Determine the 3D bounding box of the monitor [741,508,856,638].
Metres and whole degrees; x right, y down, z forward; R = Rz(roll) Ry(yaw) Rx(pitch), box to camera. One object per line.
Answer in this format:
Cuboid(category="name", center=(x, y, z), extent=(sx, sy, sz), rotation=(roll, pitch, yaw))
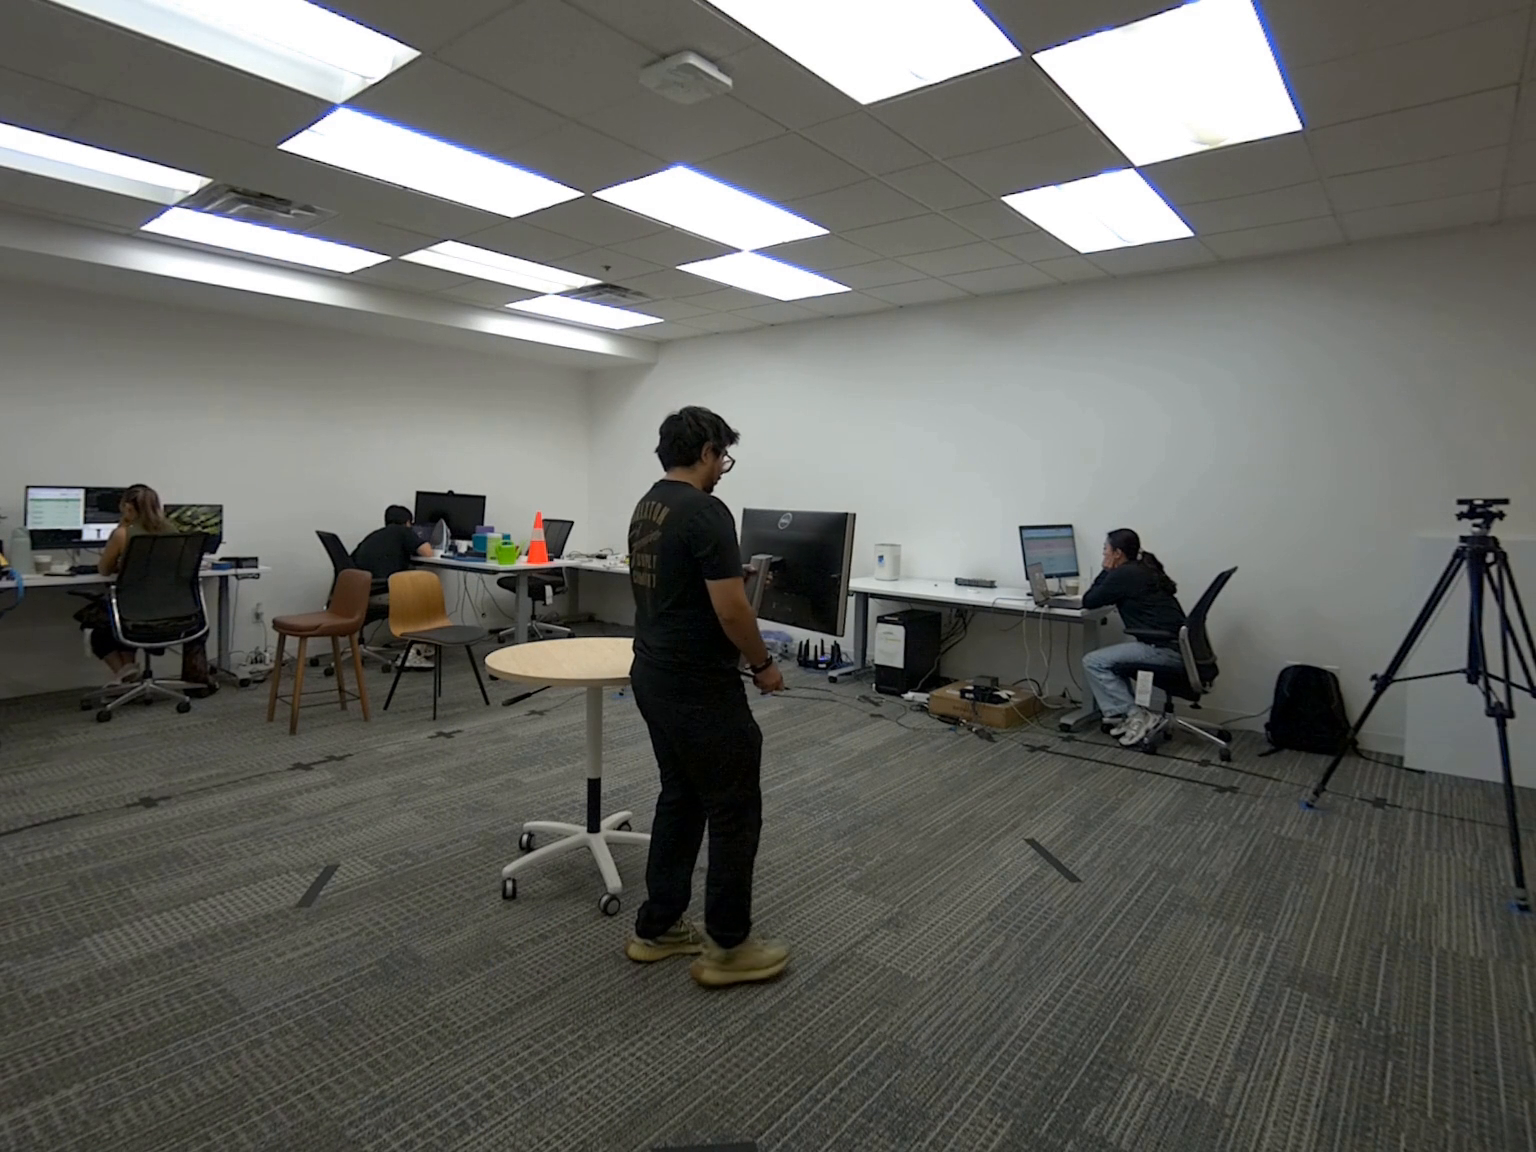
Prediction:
Cuboid(category="monitor", center=(-0.016, 0.047, 2.636), extent=(0.203, 0.555, 0.584), rotation=(14, -4, -35))
